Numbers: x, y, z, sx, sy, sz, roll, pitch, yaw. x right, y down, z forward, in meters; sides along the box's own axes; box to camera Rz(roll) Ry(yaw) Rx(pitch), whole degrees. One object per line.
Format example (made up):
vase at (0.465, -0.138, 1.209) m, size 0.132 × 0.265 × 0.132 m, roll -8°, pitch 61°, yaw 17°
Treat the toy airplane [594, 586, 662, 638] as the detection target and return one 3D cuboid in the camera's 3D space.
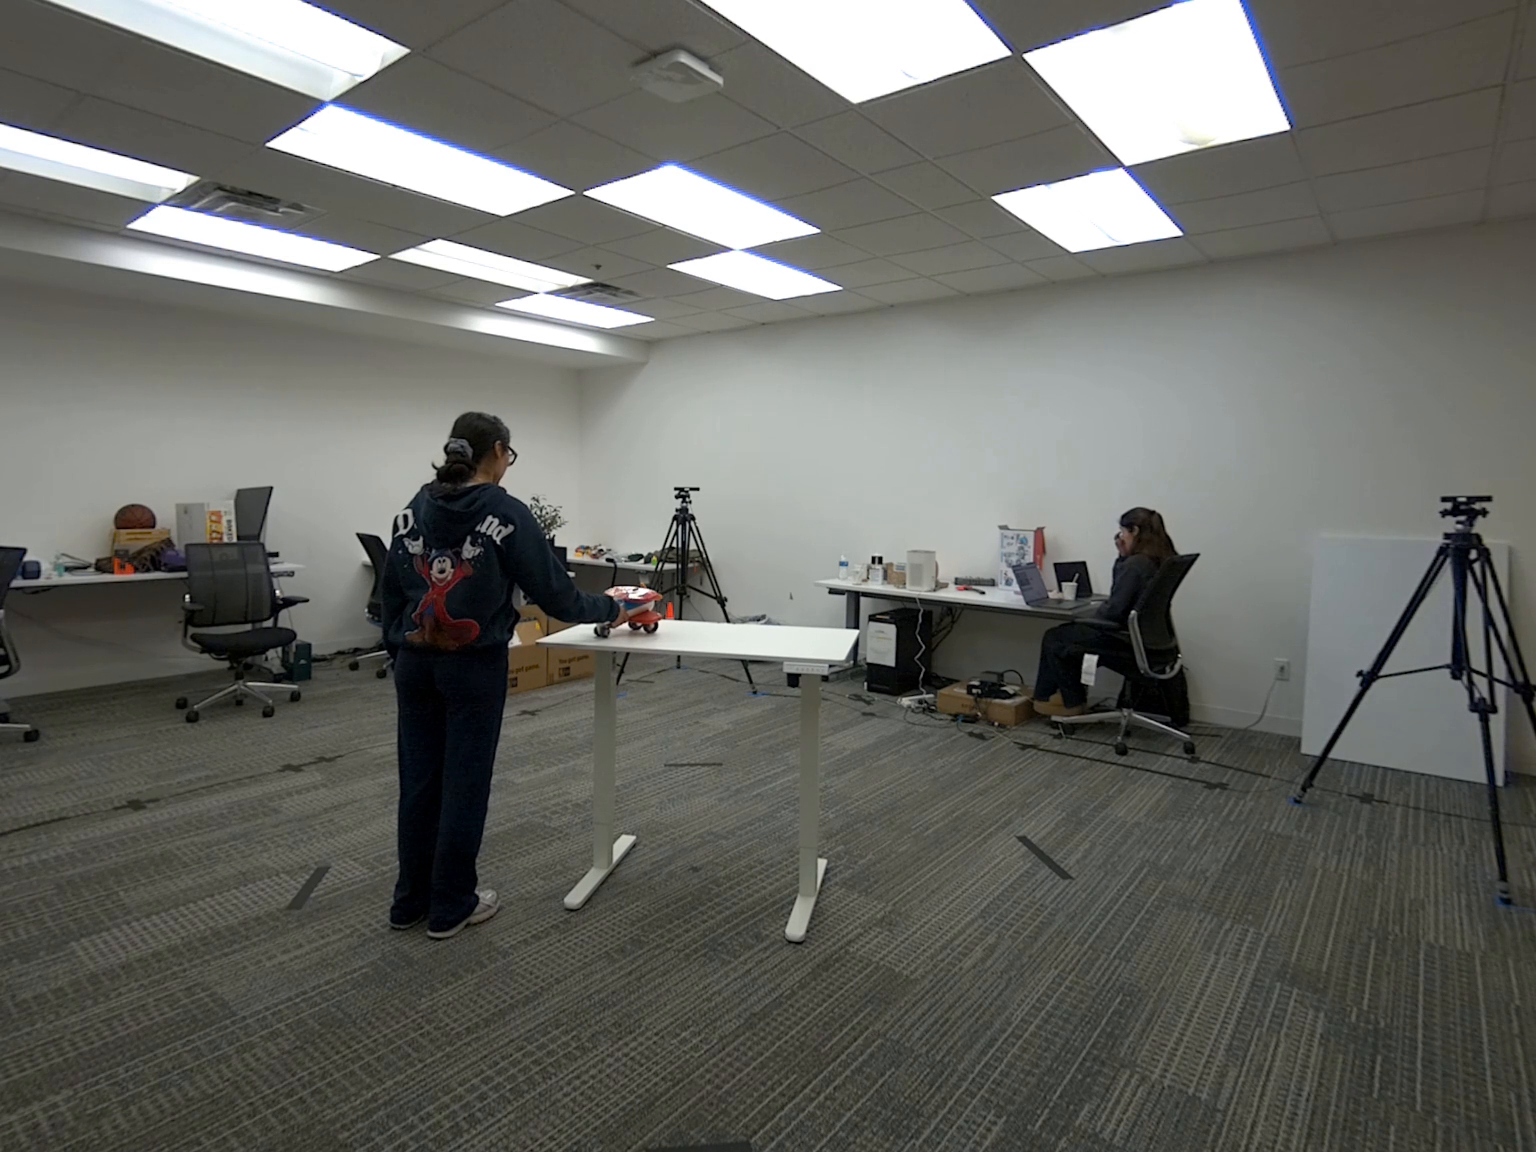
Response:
toy airplane at (-0.485, 0.121, 2.933) m, size 0.256 × 0.156 × 0.255 m, roll 3°, pitch 5°, yaw 17°
